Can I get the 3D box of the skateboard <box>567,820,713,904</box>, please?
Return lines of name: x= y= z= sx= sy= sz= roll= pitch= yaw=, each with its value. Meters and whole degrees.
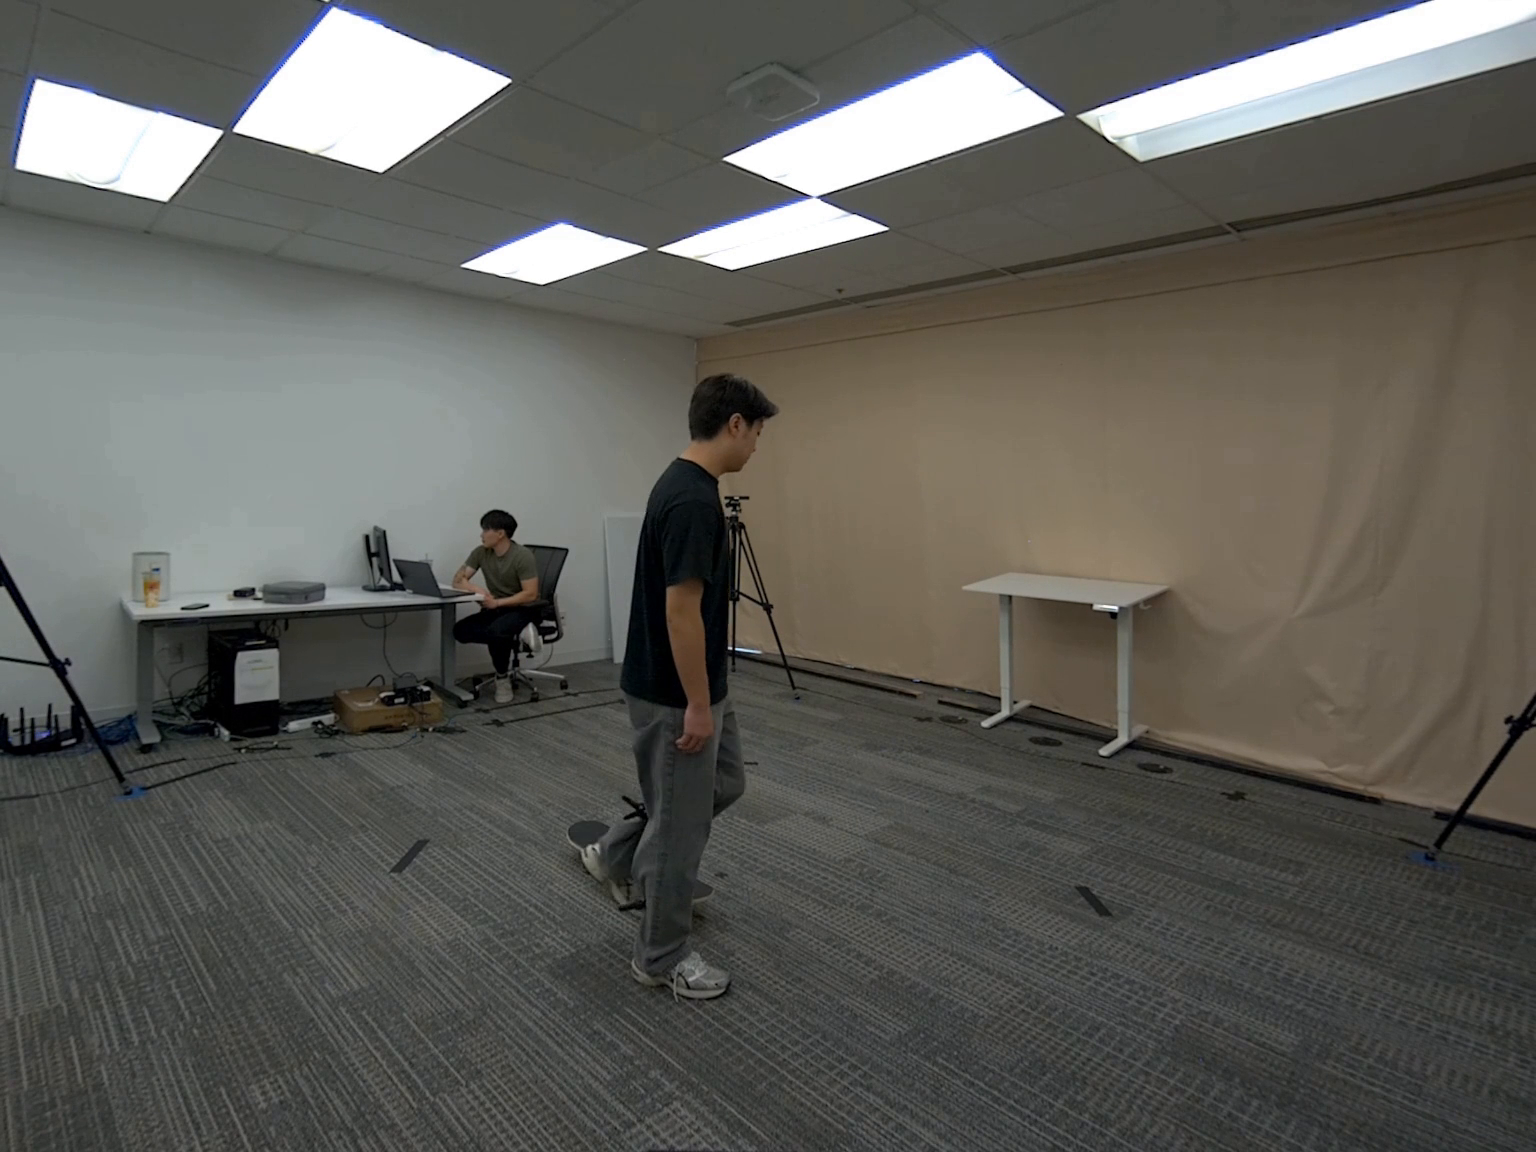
skateboard: x=-0.484 y=1.055 z=2.997 sx=0.189 sy=0.110 sz=0.806 roll=-2 pitch=6 yaw=-41
